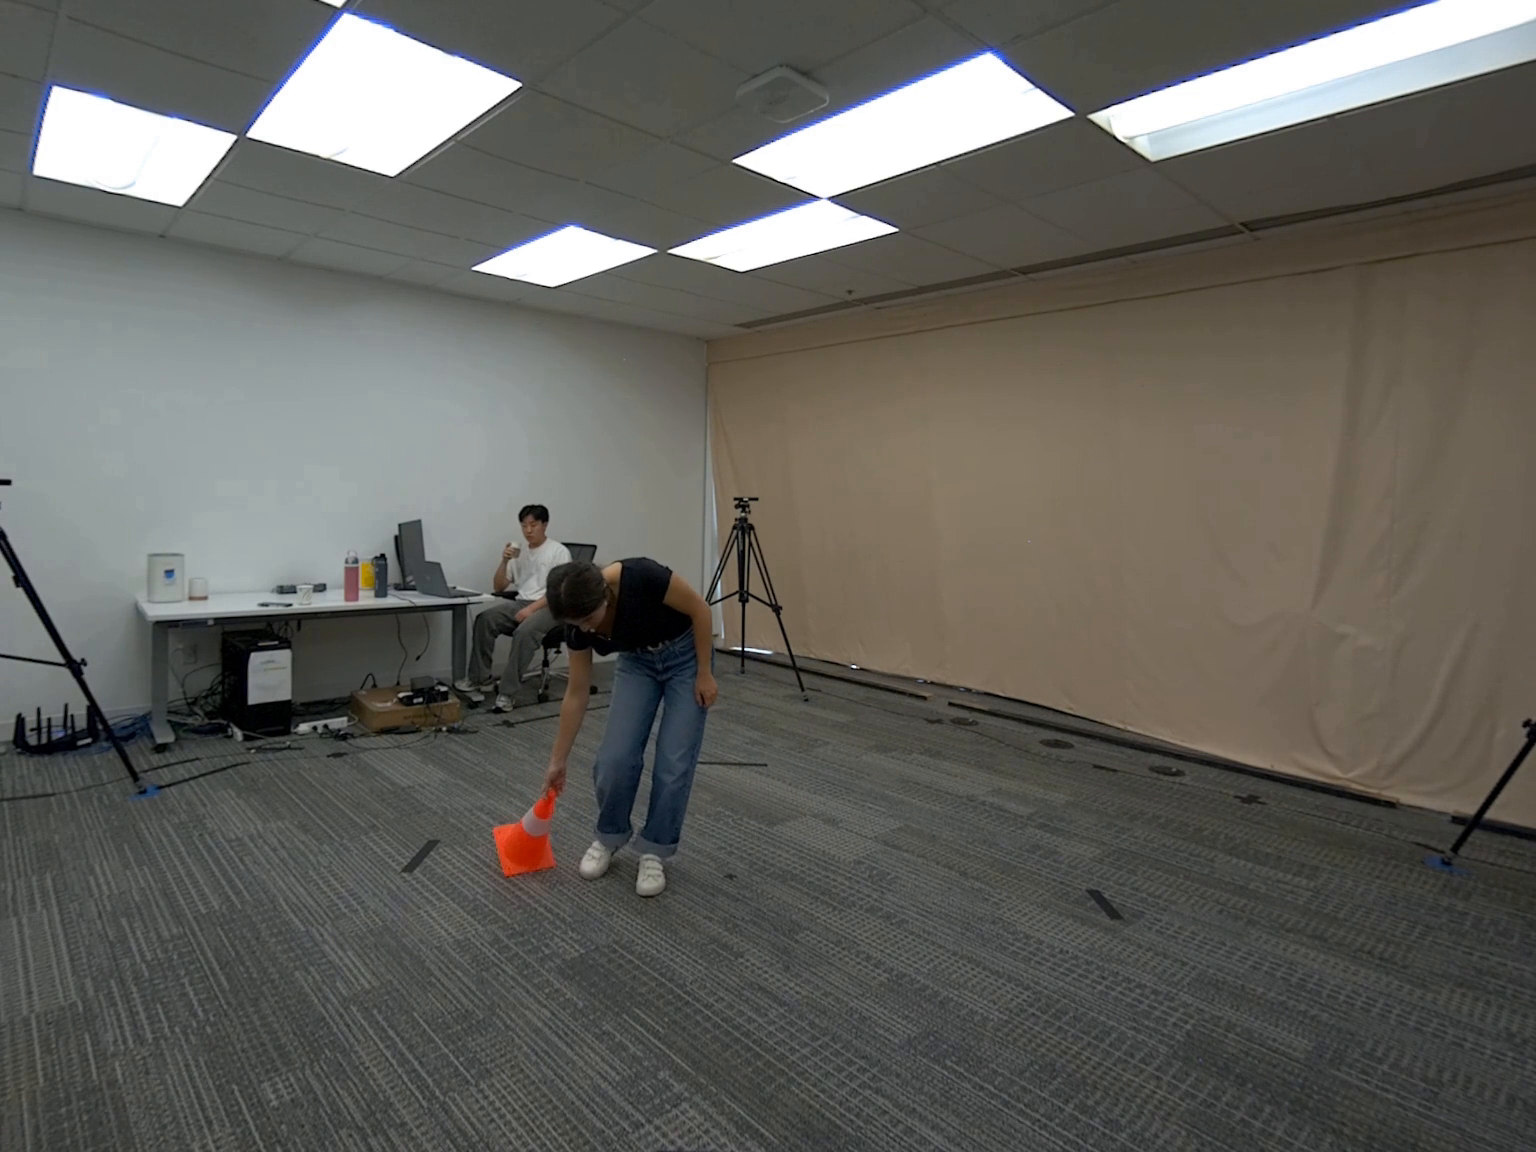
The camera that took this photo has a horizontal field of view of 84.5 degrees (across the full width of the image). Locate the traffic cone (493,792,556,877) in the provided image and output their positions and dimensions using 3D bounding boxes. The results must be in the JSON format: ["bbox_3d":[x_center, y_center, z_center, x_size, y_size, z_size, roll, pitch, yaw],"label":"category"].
[{"bbox_3d":[-0.835,0.886,3.053,0.198,0.381,0.211,2,42,-36],"label":"traffic cone"}]
